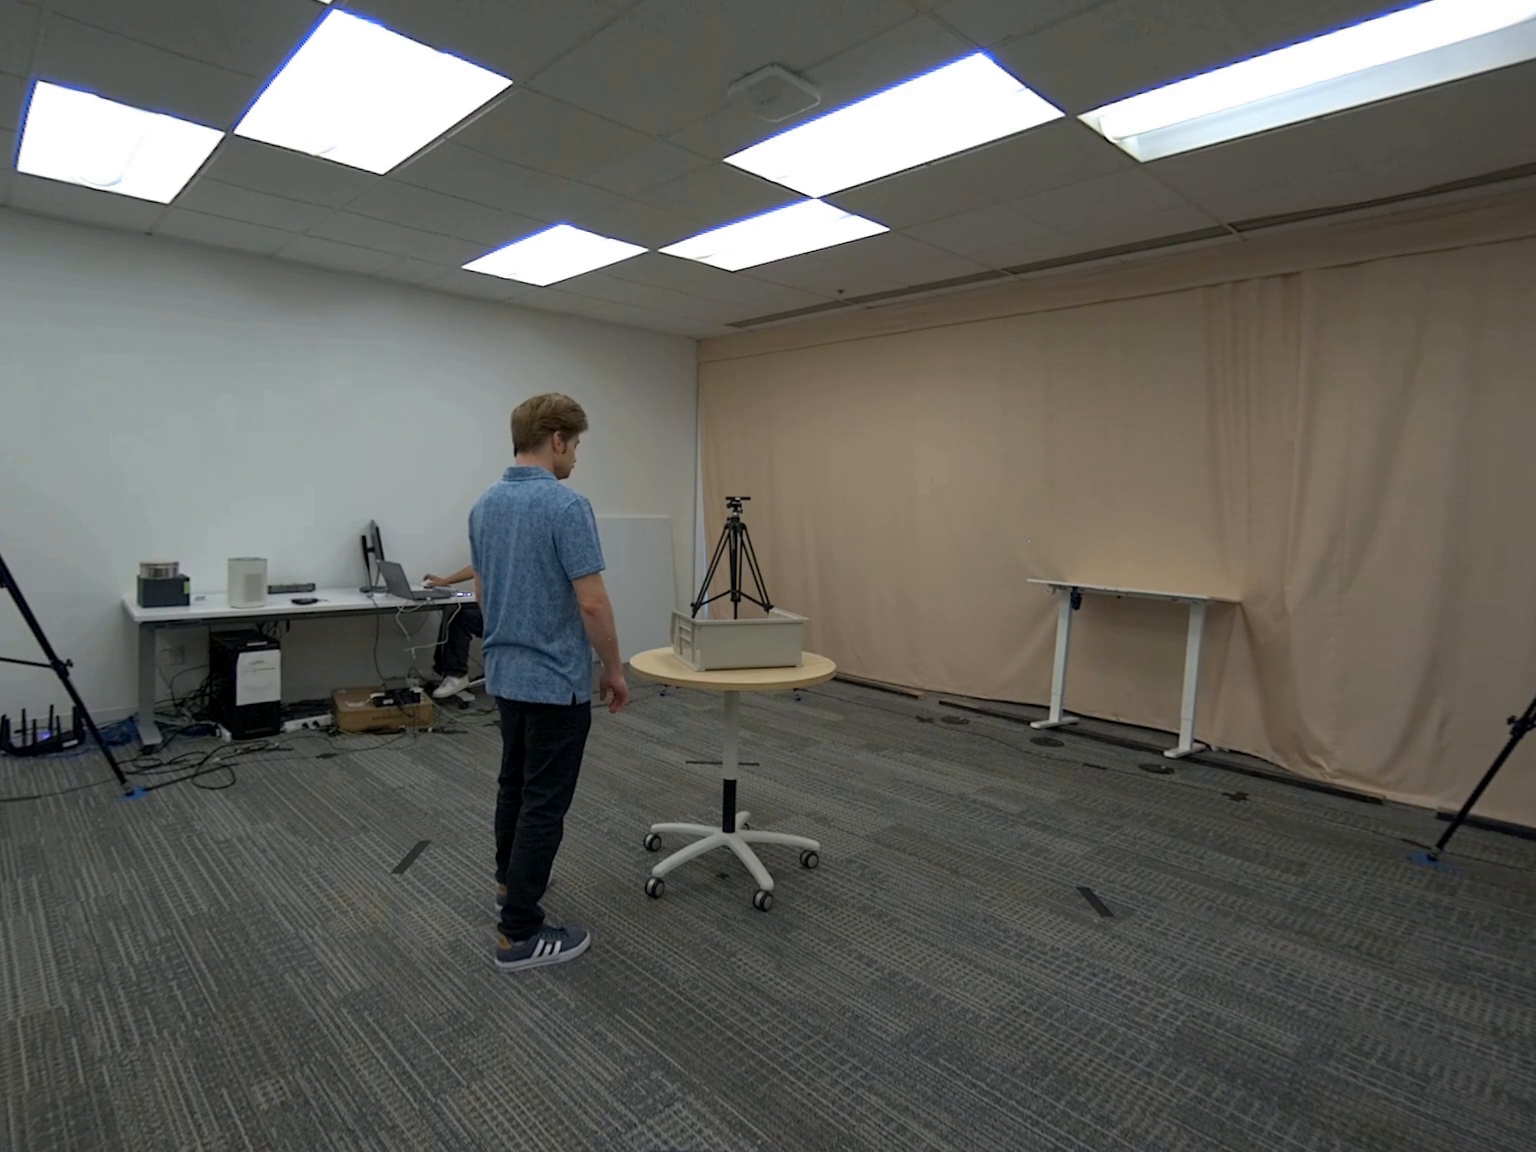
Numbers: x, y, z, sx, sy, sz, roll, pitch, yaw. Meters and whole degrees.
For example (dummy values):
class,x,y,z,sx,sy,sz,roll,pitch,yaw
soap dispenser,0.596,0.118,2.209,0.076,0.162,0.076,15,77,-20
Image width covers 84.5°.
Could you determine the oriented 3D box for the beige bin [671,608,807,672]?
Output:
class,x,y,z,sx,sy,sz,roll,pitch,yaw
beige bin,-0.123,0.230,3.153,0.416,0.188,0.384,0,5,-20
